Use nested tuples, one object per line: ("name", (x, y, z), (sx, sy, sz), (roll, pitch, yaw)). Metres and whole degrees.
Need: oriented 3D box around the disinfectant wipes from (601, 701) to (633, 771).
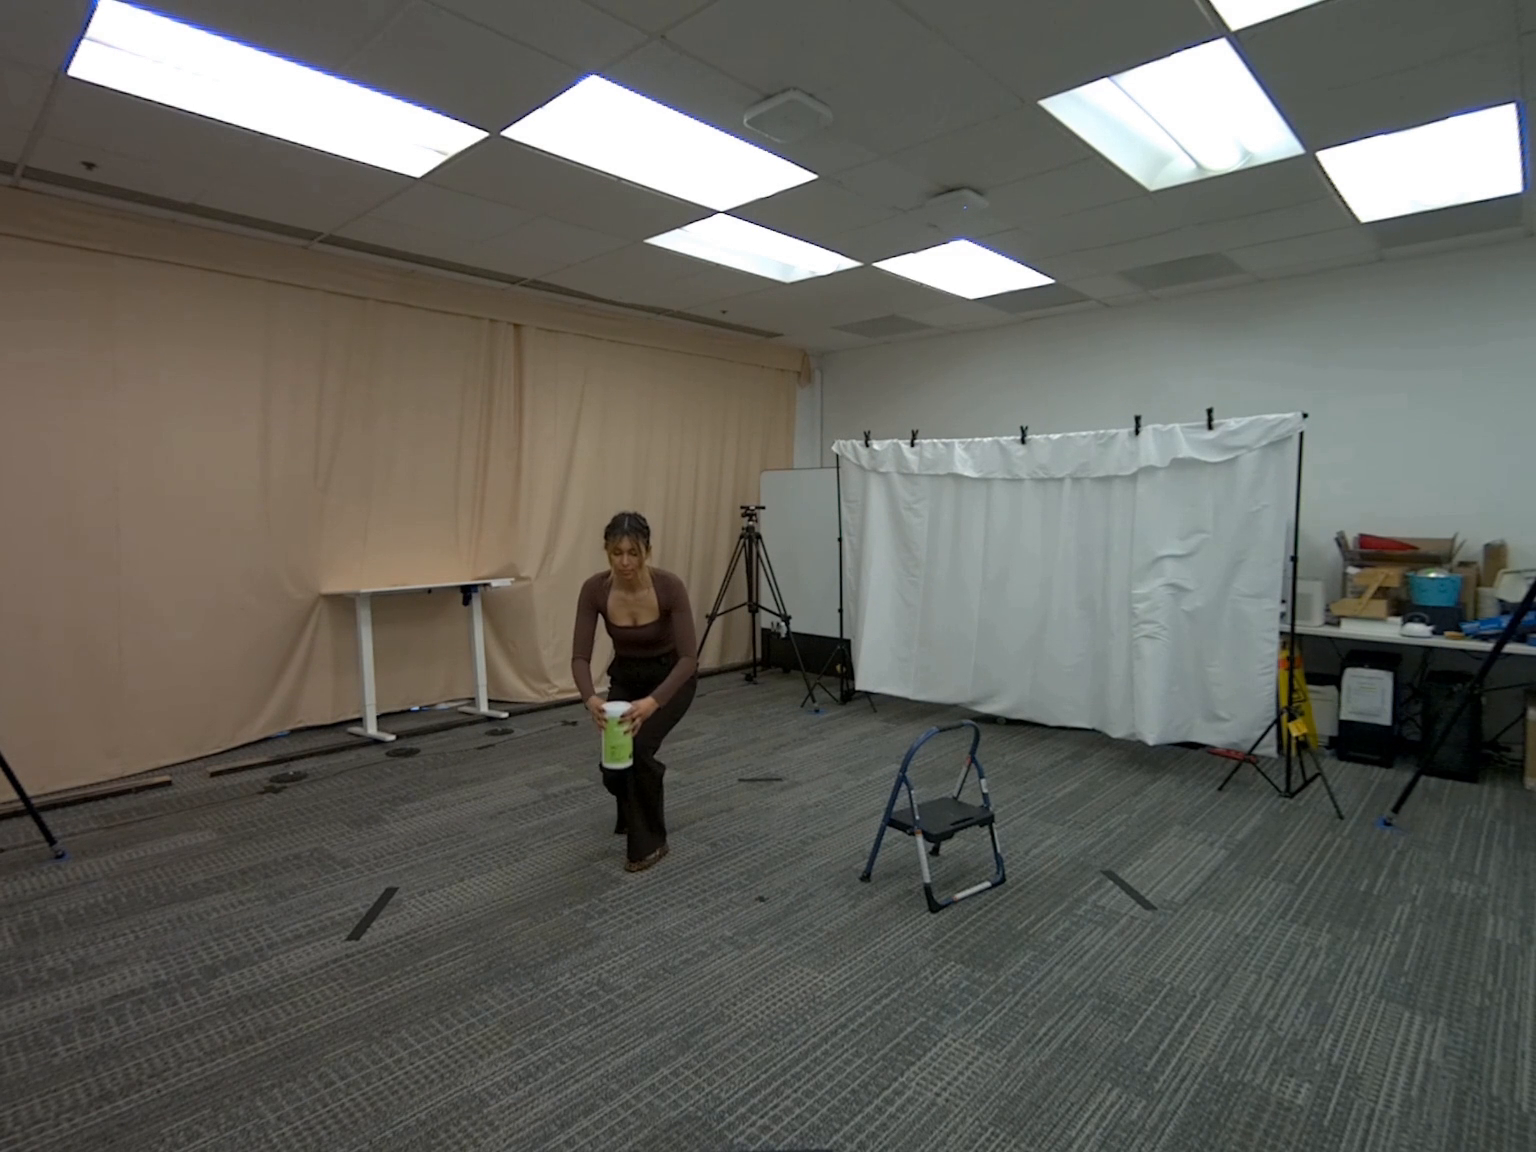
("disinfectant wipes", (-0.534, 0.557, 2.968), (0.117, 0.216, 0.118), (1, 7, -2))
